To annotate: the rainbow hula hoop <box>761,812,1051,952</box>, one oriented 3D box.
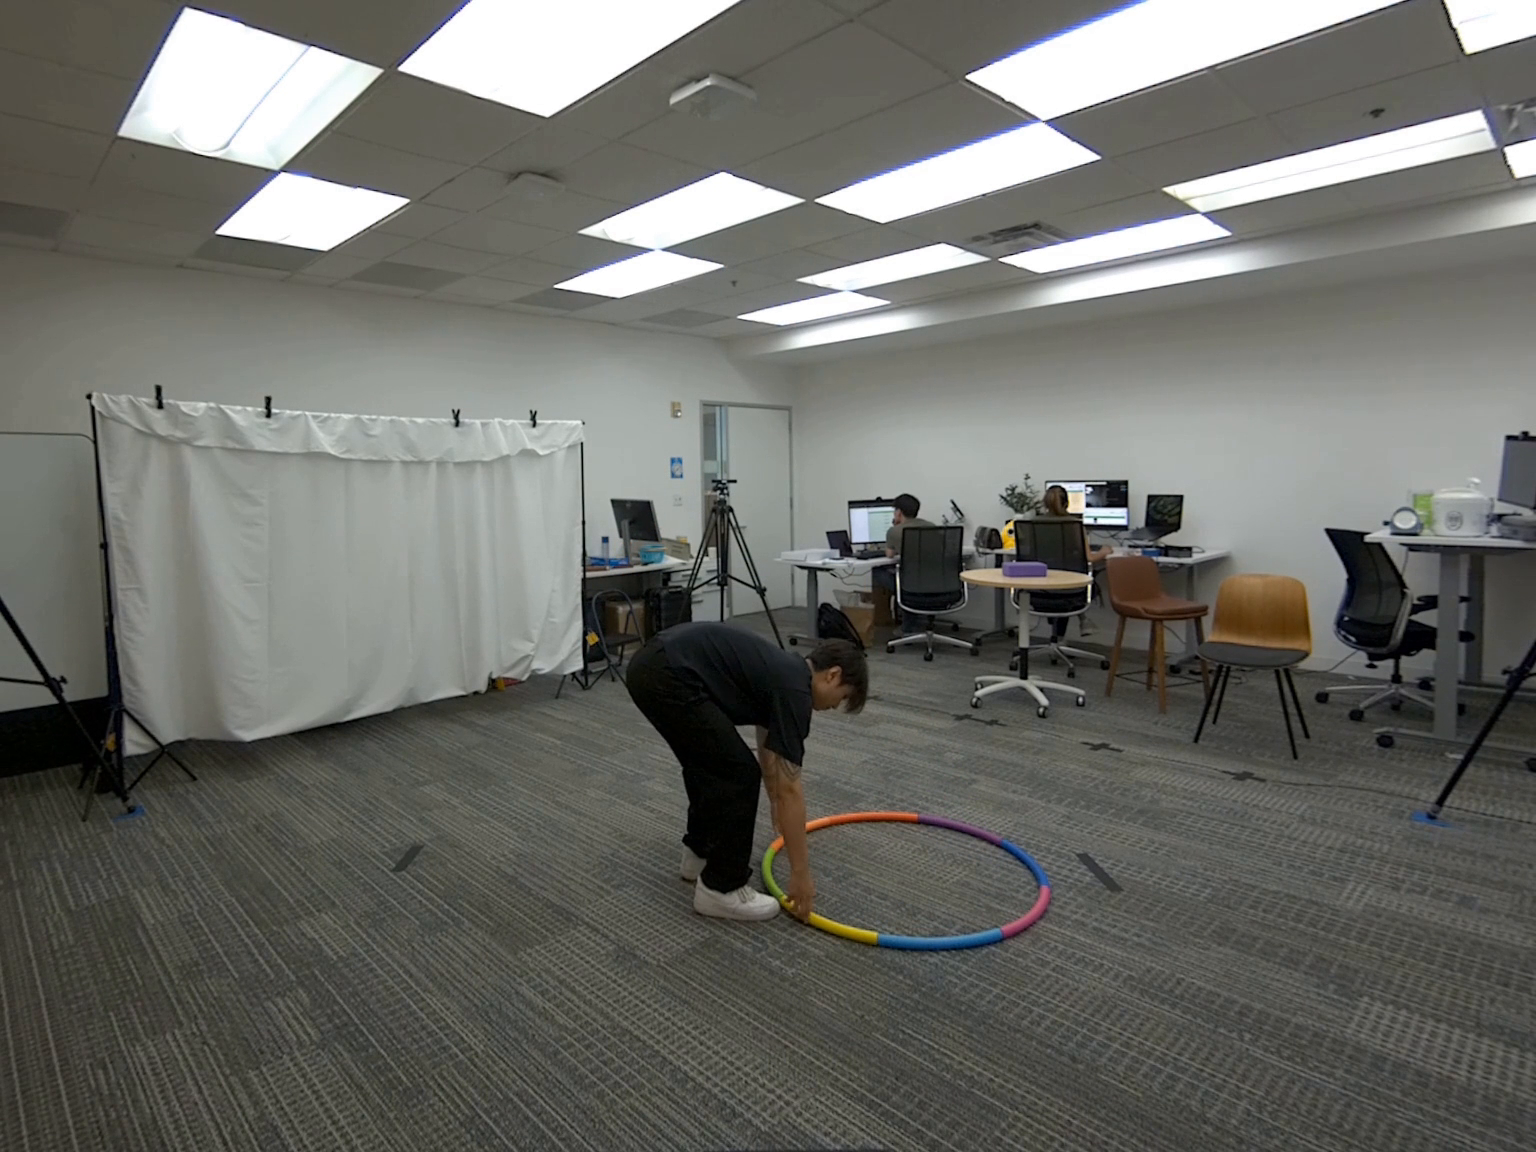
[{"bbox_3d":[0.461,1.020,3.003,0.978,0.035,0.984,-1,6,-2],"label":"rainbow hula hoop"}]
